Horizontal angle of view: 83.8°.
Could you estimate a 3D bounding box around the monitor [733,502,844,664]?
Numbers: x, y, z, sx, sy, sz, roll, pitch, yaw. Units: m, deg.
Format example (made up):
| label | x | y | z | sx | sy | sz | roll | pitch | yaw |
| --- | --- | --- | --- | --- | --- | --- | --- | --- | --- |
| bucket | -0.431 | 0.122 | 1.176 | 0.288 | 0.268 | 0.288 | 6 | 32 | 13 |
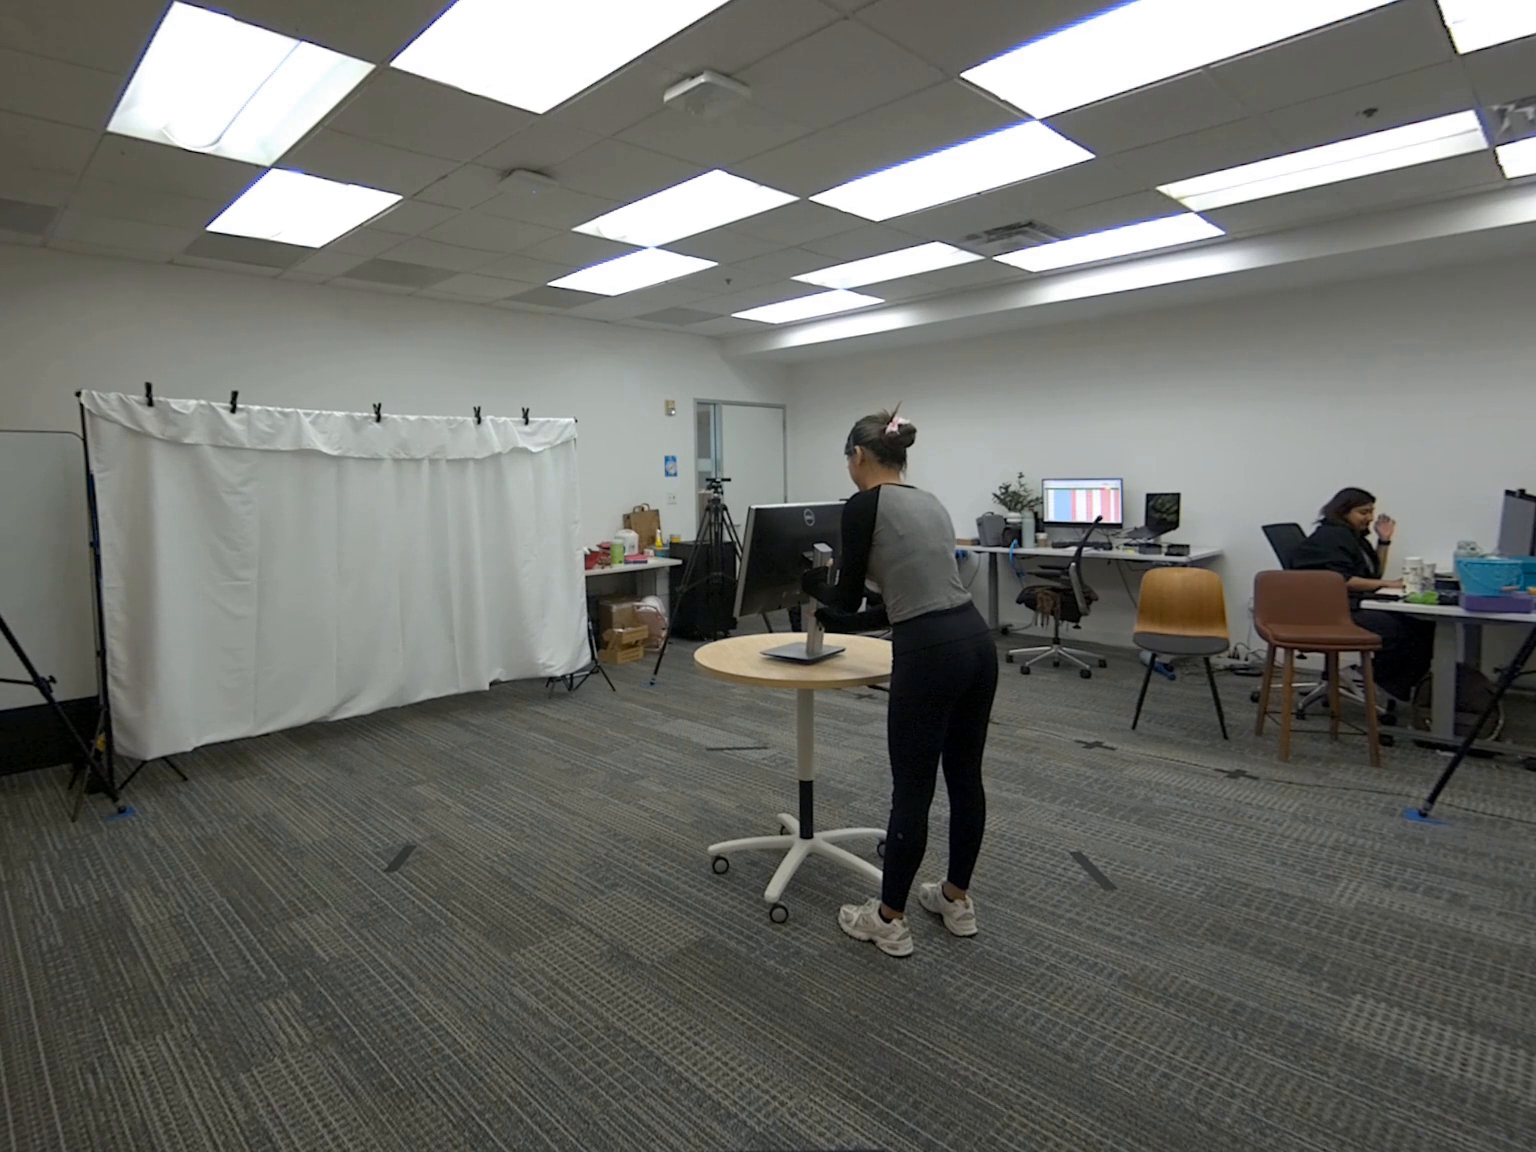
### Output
| label | x | y | z | sx | sy | sz | roll | pitch | yaw |
| --- | --- | --- | --- | --- | --- | --- | --- | --- | --- |
| monitor | 0.117 | 0.015 | 2.885 | 0.179 | 0.516 | 0.517 | -6 | 2 | 38 |
